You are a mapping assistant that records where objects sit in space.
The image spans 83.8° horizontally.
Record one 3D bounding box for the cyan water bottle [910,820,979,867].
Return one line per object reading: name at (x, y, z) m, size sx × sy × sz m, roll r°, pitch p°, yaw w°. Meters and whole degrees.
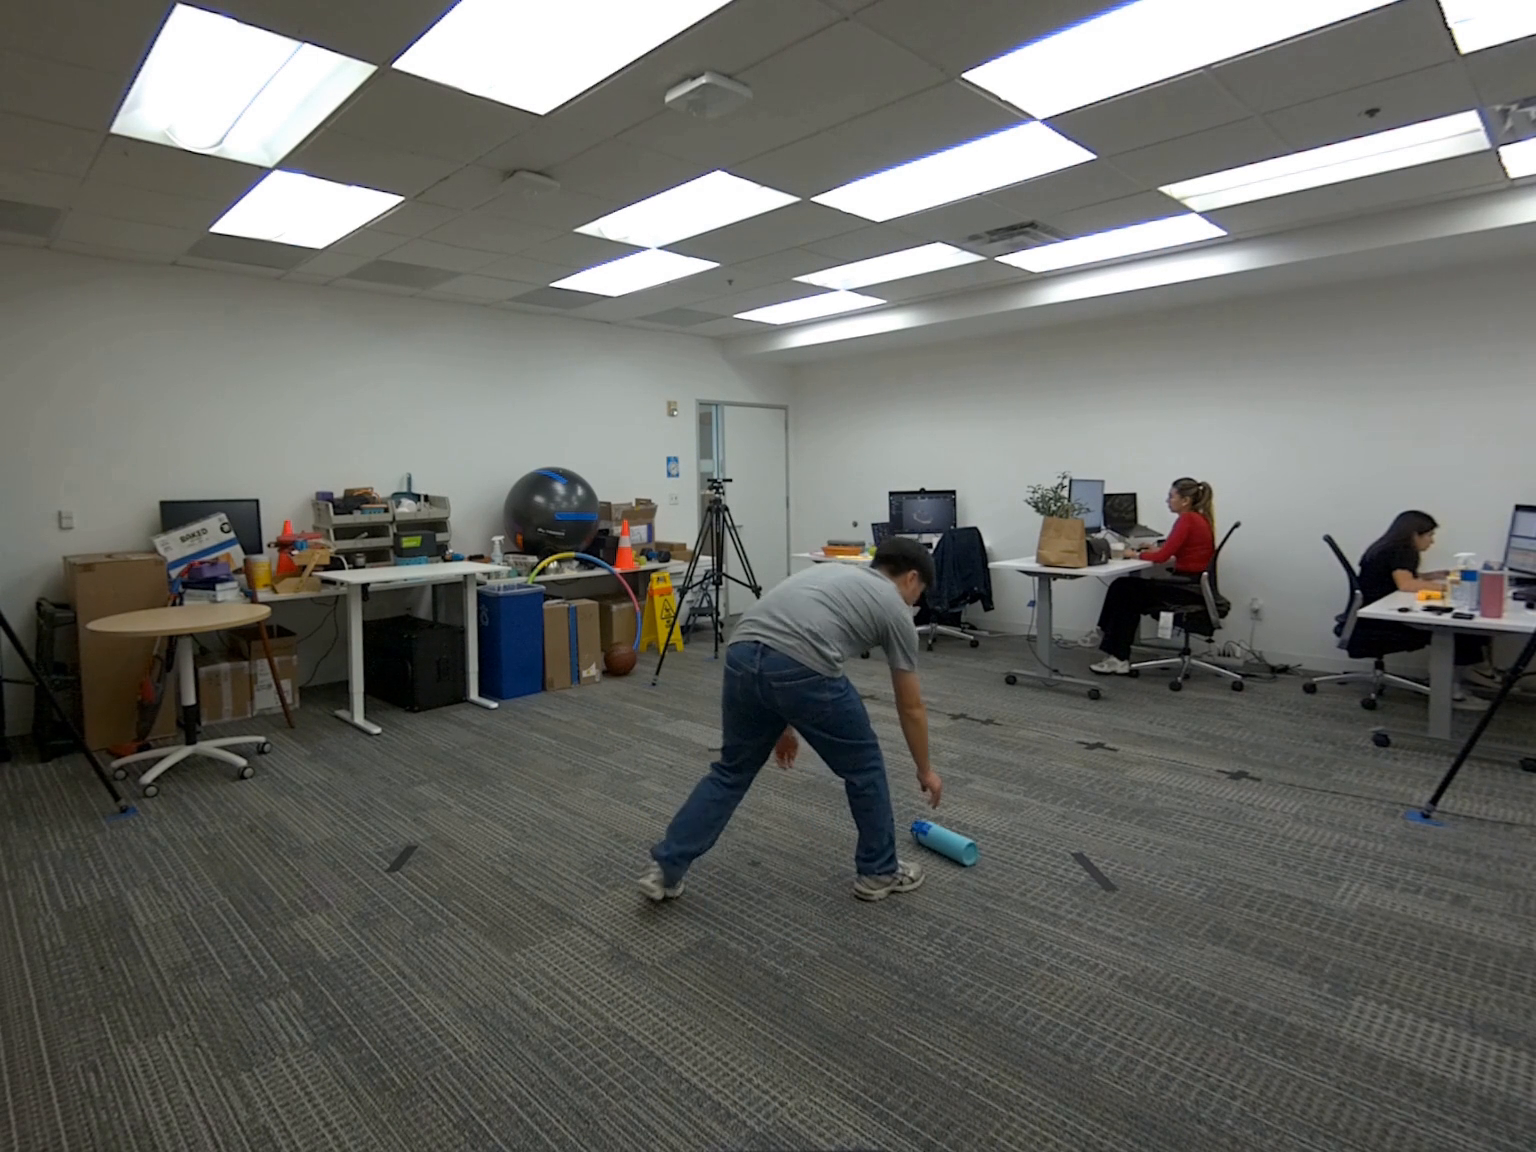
cyan water bottle at (0.649, 0.980, 3.167) m, size 0.090 × 0.092 × 0.291 m, roll -4°, pitch 5°, yaw -32°
